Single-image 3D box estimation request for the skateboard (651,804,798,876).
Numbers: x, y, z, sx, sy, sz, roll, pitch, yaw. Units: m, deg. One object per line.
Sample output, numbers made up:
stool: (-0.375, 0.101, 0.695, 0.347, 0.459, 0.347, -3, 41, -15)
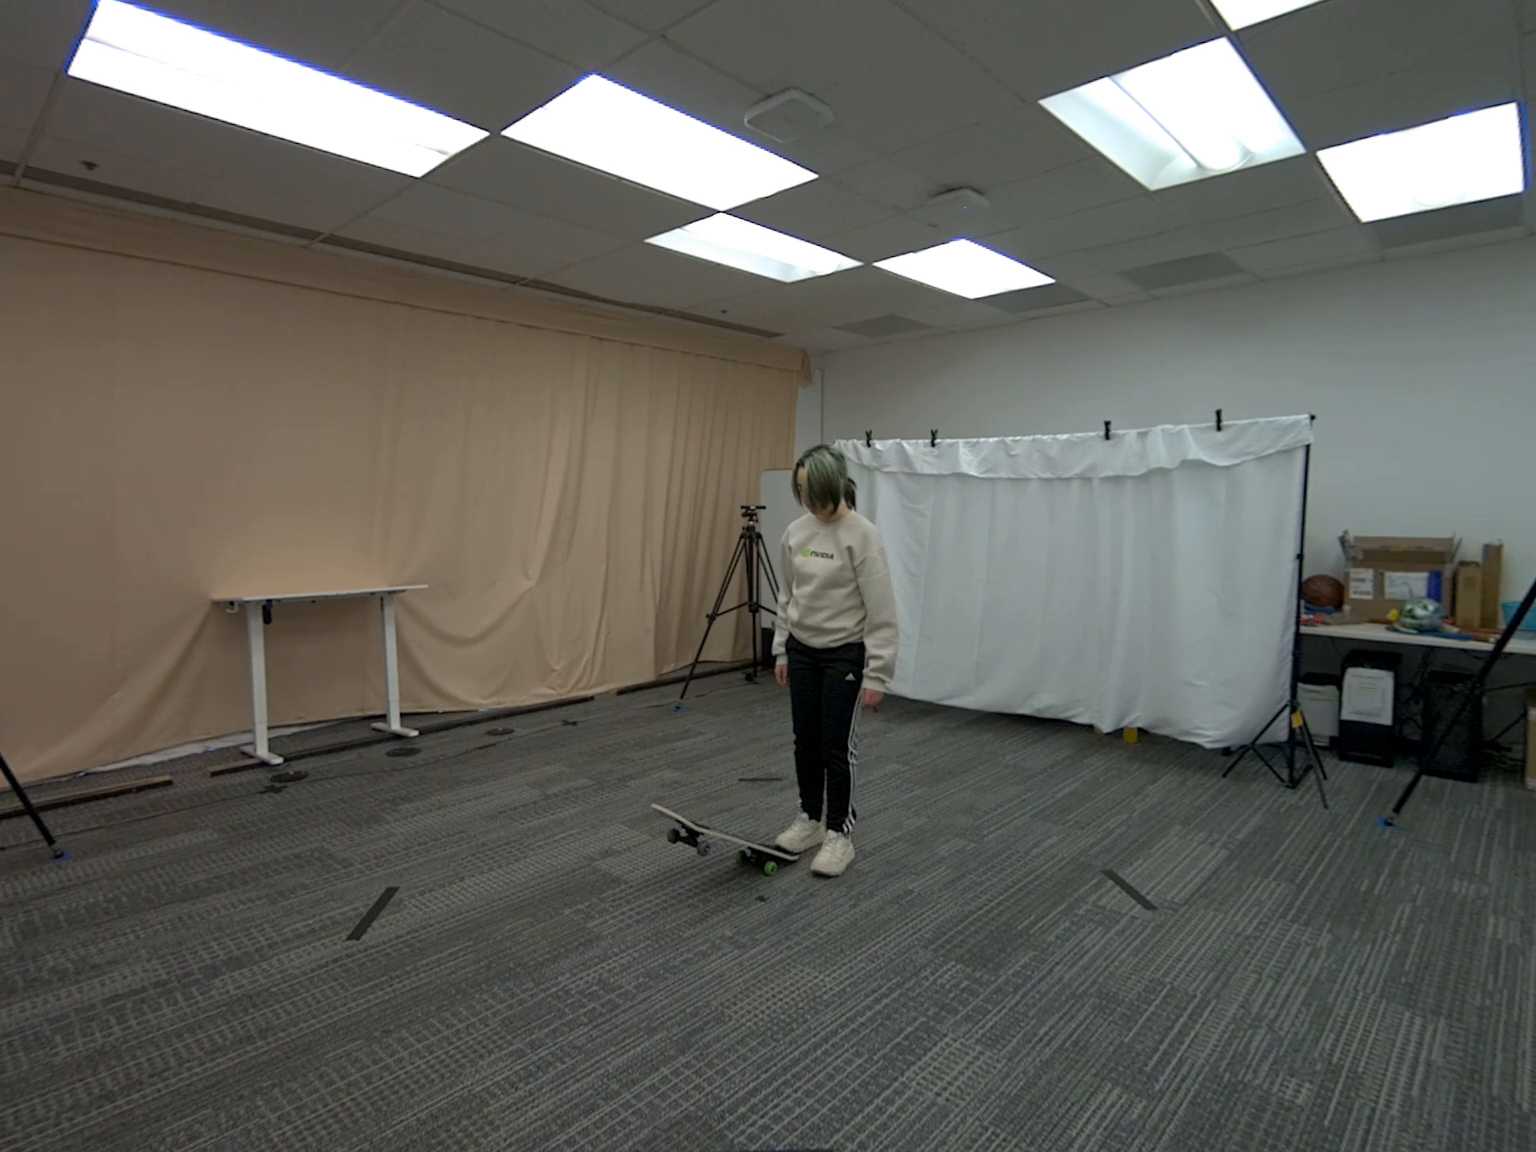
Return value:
skateboard: (-0.155, 0.996, 3.107, 0.200, 0.111, 0.757, 4, -23, 43)
